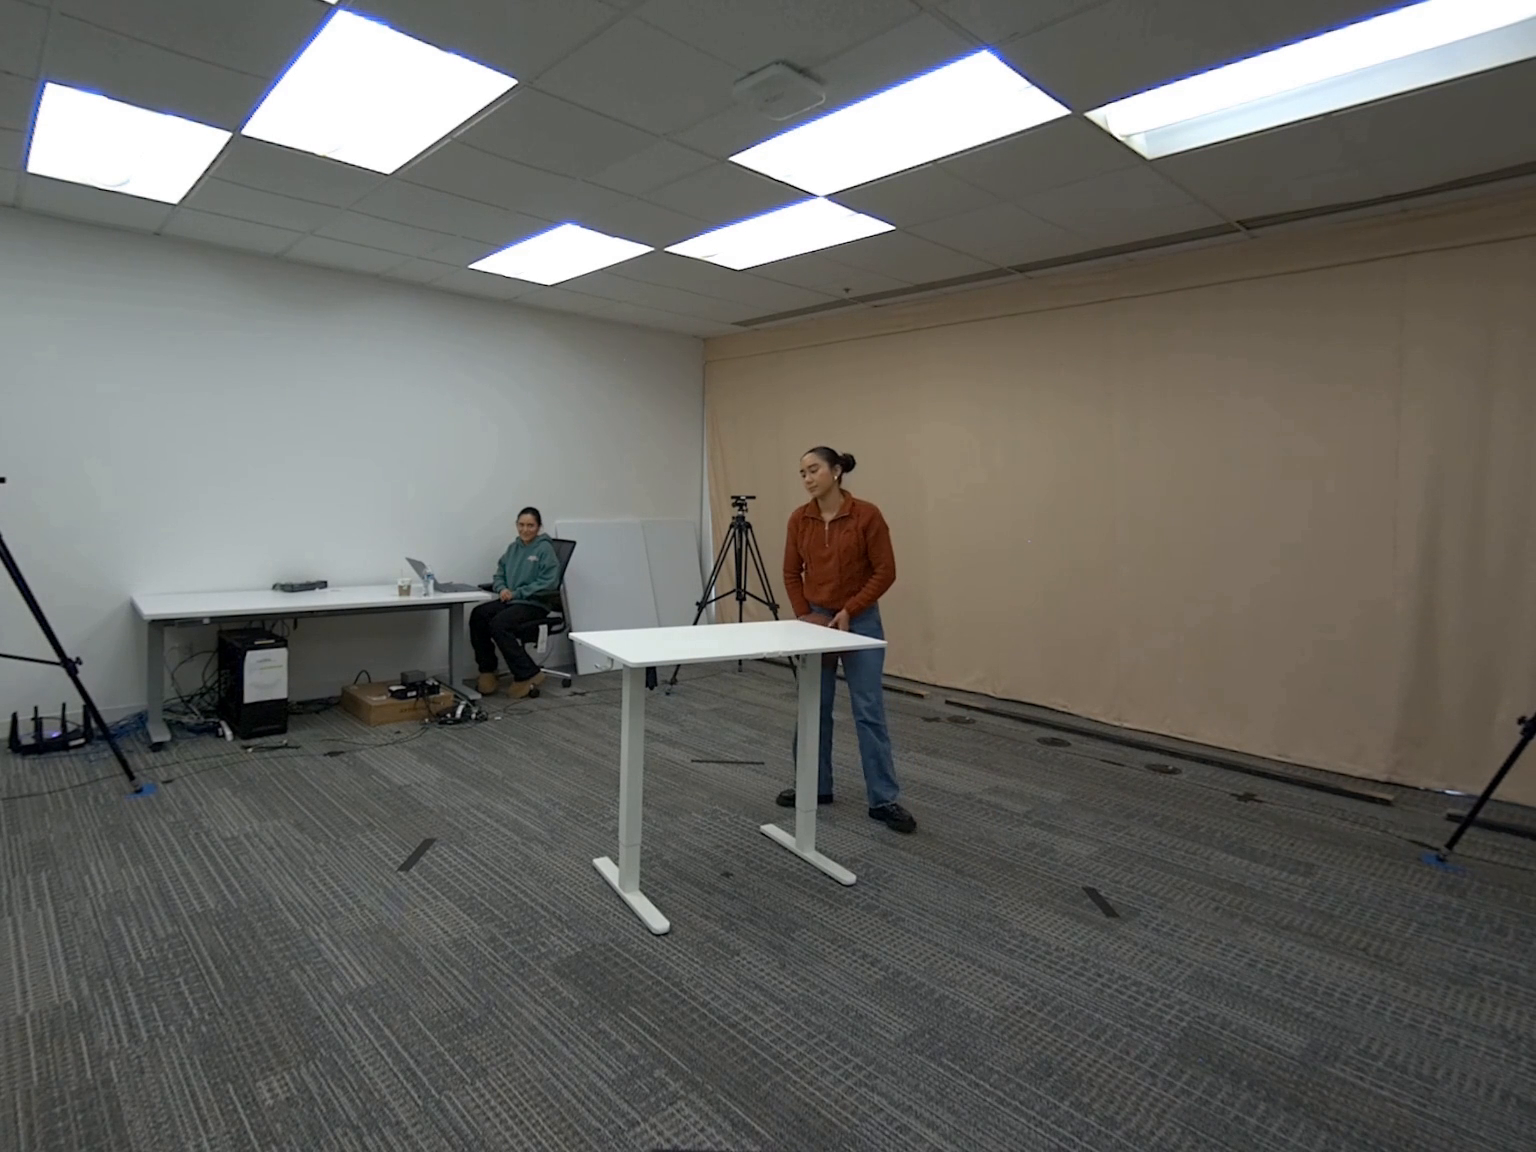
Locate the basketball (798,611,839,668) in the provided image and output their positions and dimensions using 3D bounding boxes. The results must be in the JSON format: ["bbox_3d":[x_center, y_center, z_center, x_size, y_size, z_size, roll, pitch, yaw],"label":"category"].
[{"bbox_3d":[0.213,0.277,3.658,0.236,0.235,0.237,1,4,-1],"label":"basketball"}]
